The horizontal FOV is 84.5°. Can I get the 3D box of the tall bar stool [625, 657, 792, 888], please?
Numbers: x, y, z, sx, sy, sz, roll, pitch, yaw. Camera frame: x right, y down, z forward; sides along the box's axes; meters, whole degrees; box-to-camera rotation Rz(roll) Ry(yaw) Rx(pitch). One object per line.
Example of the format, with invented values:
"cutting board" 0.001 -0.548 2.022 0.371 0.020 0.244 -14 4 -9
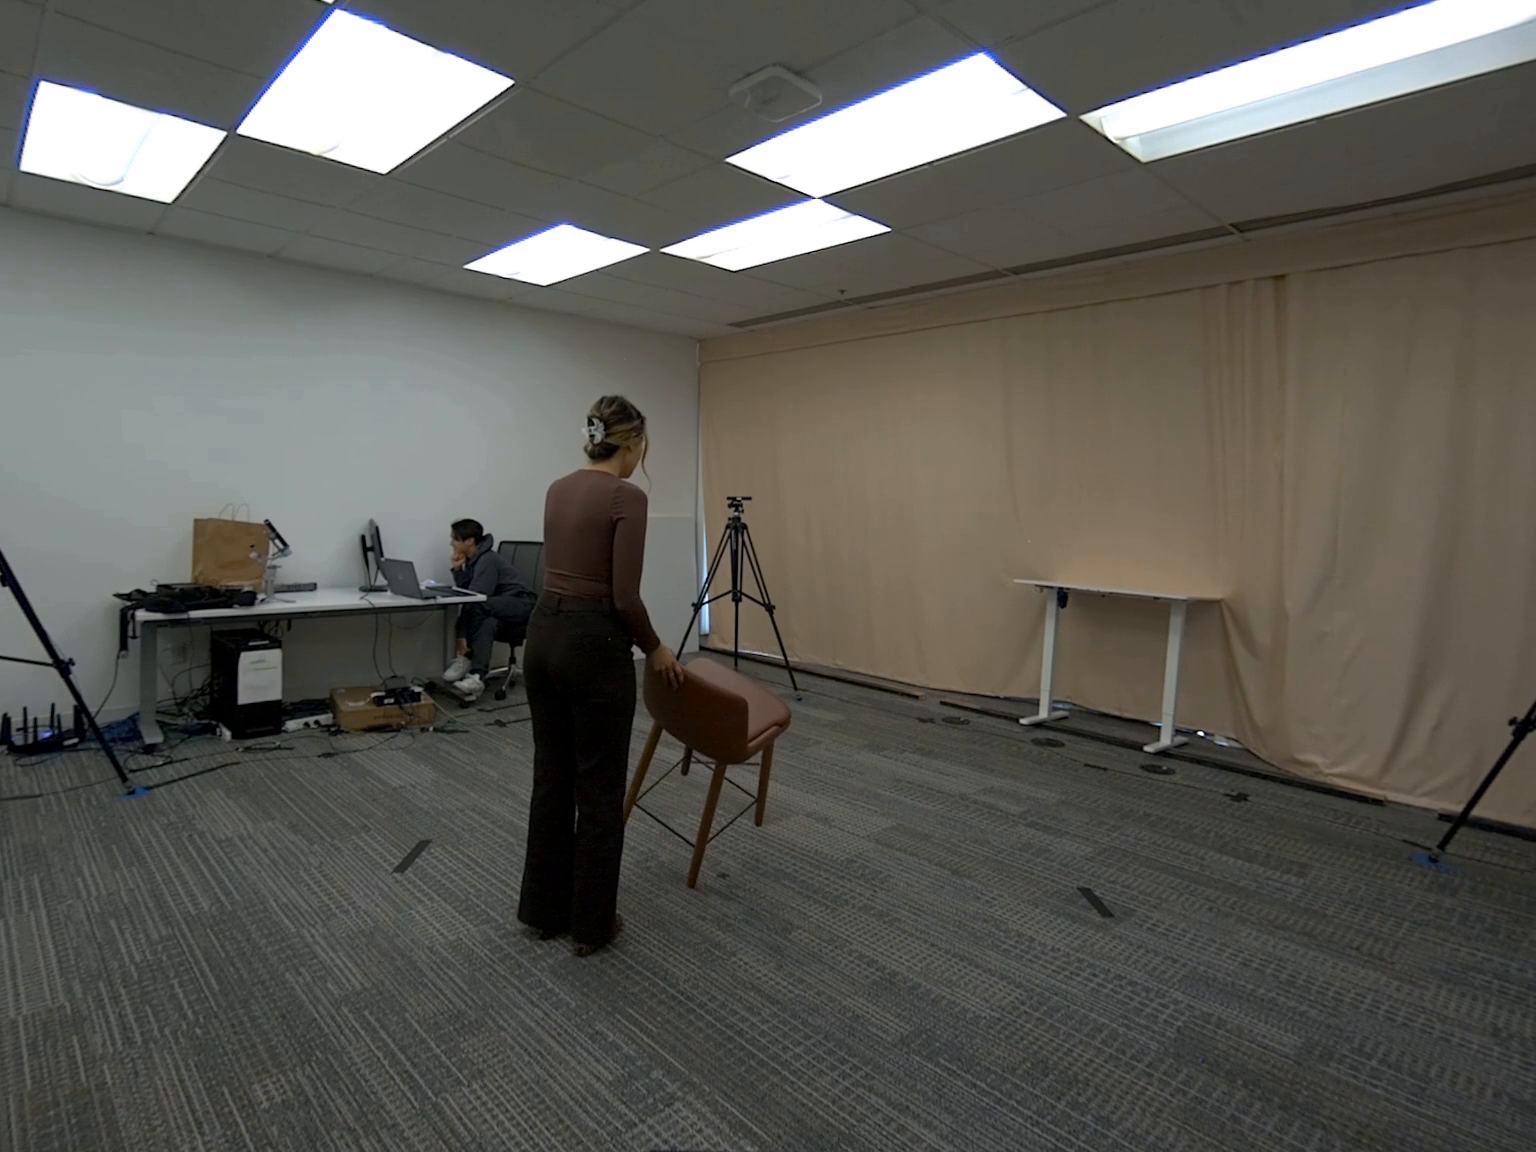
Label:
"tall bar stool" -0.222 0.602 3.045 0.468 0.877 0.463 27 32 25
